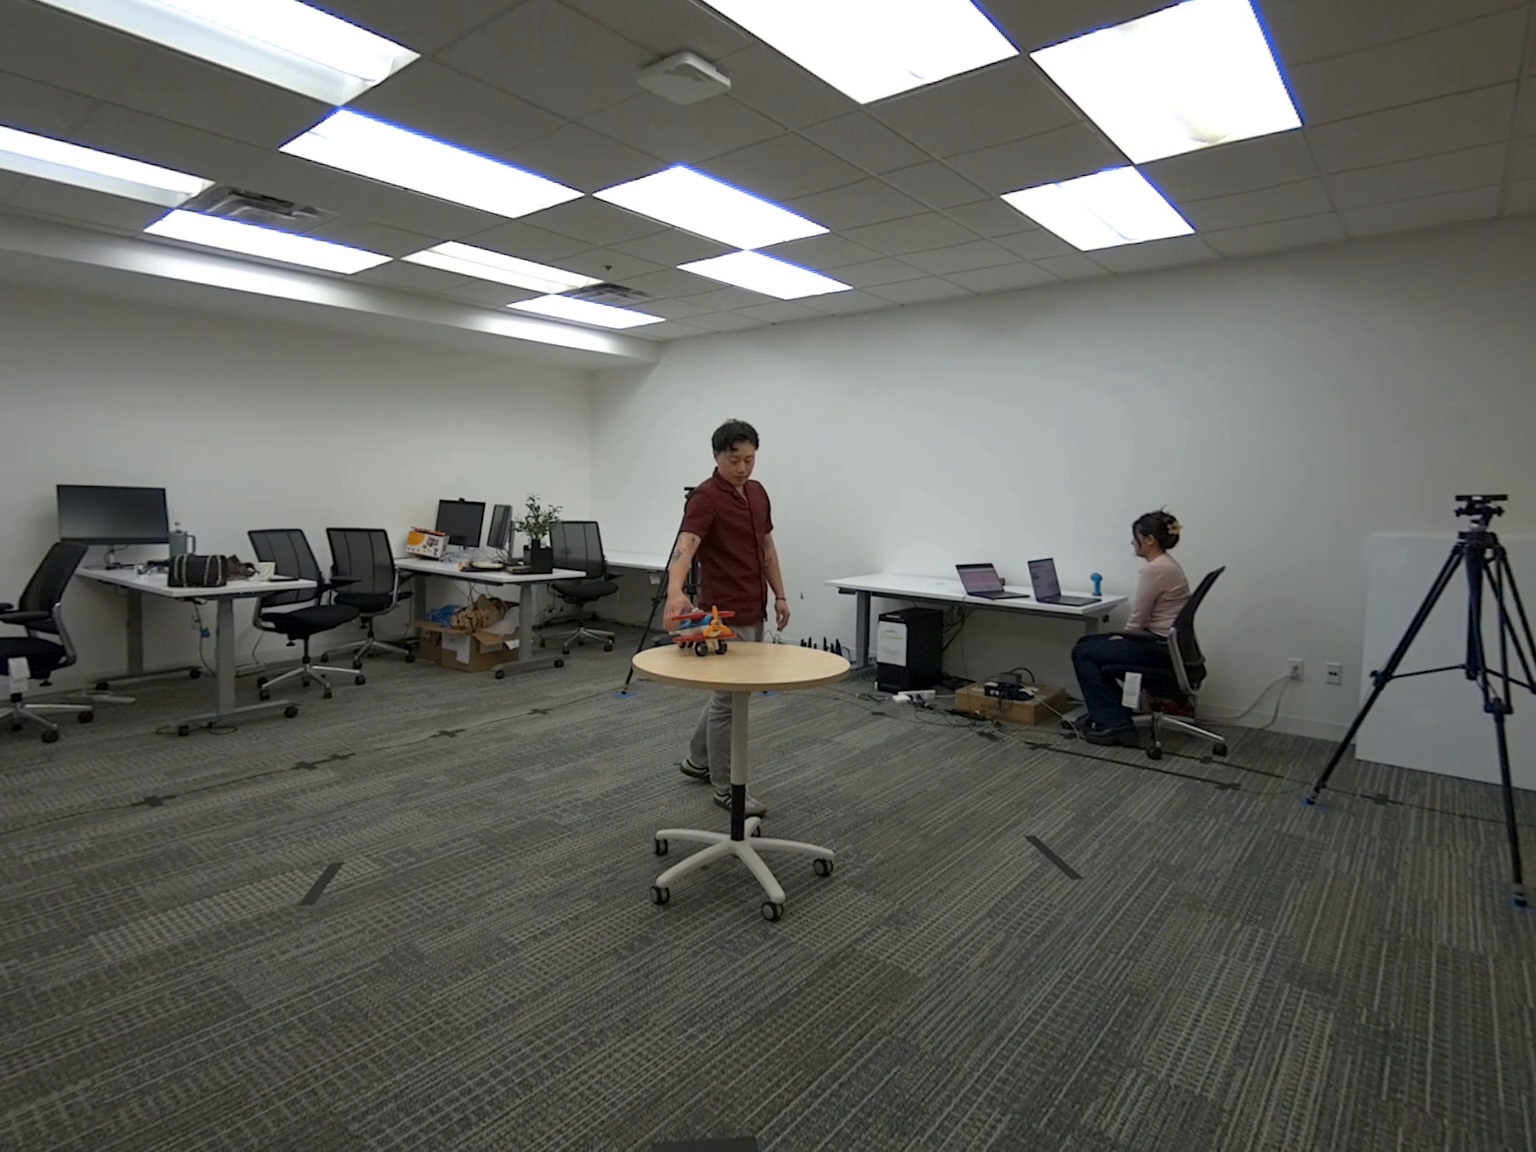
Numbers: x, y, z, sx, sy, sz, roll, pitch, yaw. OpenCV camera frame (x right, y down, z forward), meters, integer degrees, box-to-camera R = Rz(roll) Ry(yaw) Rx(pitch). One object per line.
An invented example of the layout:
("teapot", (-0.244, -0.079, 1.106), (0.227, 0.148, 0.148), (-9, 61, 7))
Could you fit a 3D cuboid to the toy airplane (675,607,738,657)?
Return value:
("toy airplane", (-0.281, 0.202, 3.150), (0.266, 0.156, 0.245), (4, 4, 26))
